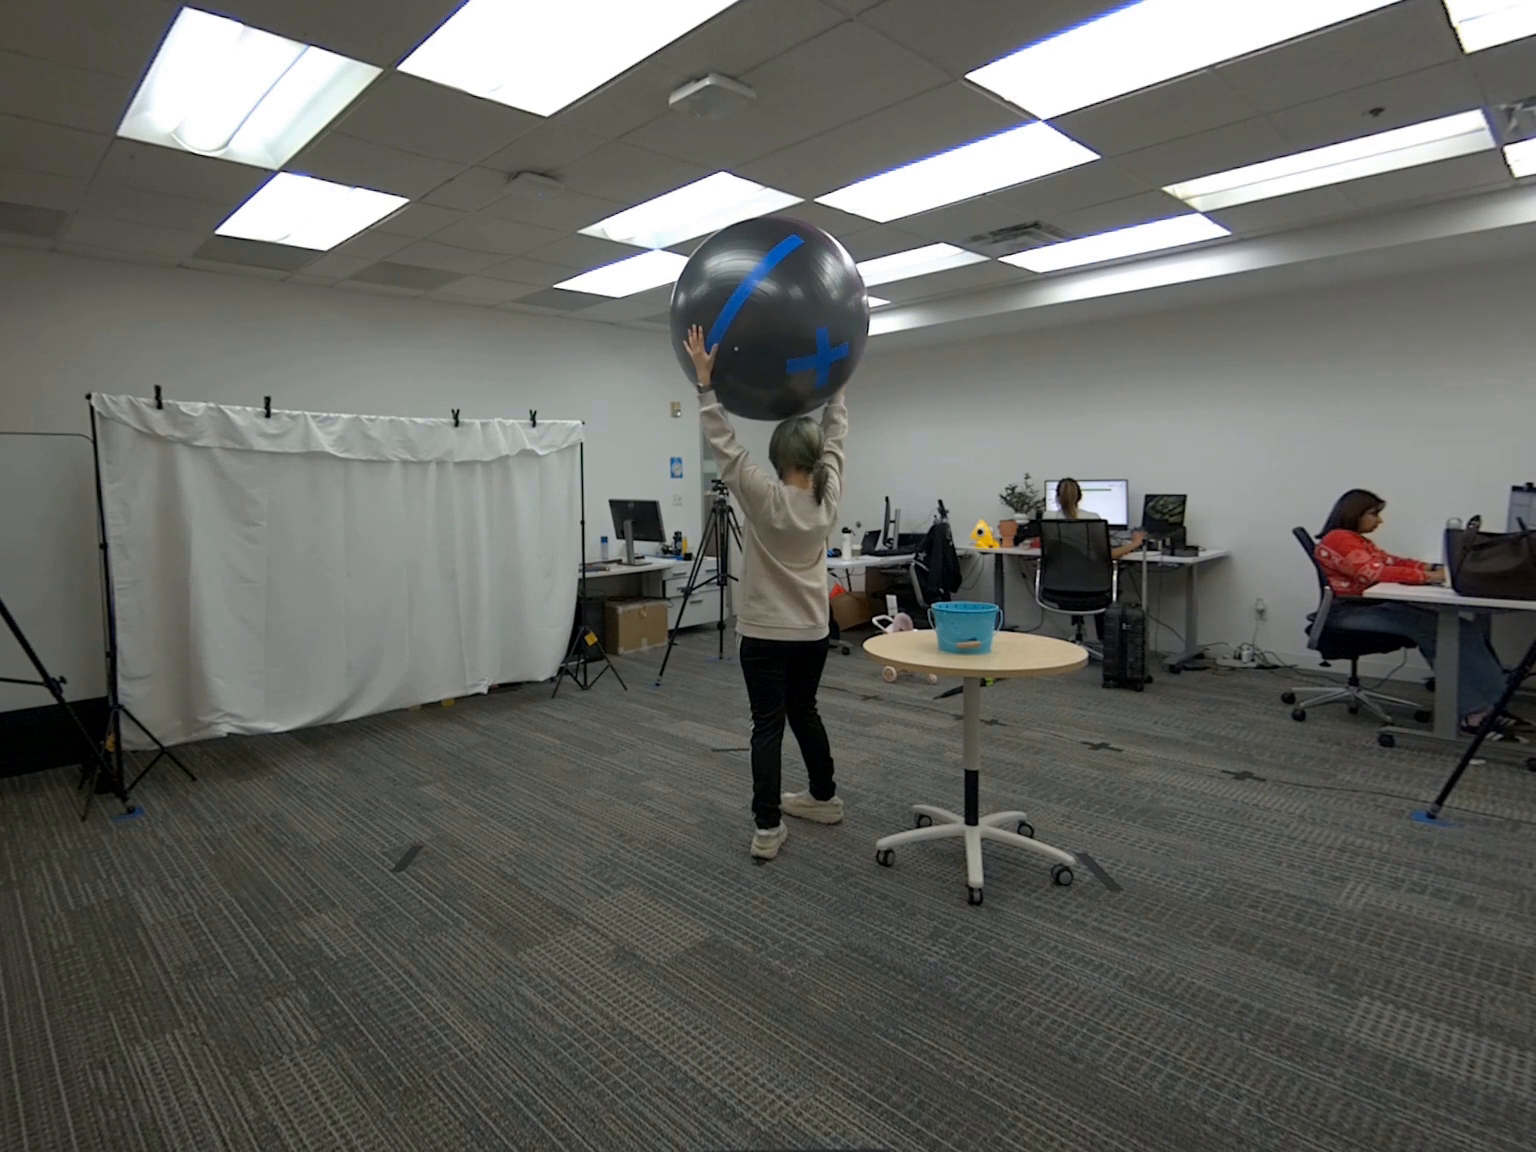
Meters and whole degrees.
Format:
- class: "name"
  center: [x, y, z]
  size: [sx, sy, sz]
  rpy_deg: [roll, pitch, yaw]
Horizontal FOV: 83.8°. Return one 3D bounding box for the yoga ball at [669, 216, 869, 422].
- class: "yoga ball"
  center: [0.003, -0.971, 3.263]
  size: [0.757, 0.755, 0.762]
  rpy_deg: [-1, 5, -2]
